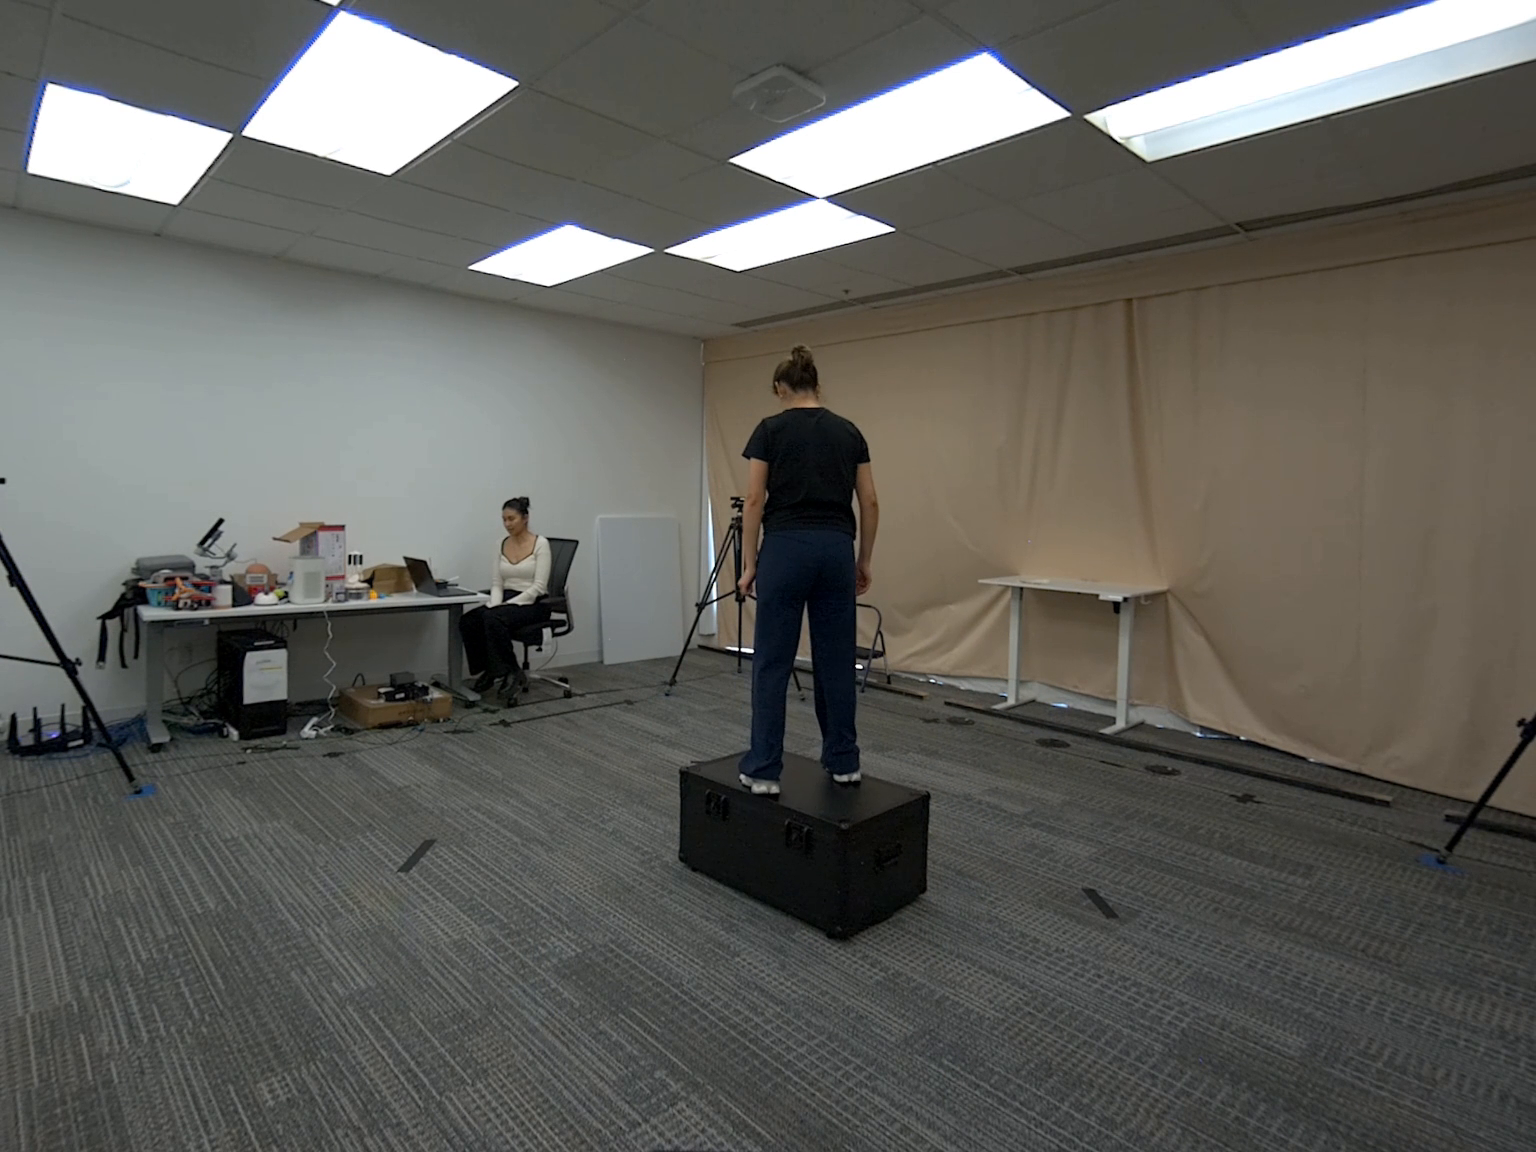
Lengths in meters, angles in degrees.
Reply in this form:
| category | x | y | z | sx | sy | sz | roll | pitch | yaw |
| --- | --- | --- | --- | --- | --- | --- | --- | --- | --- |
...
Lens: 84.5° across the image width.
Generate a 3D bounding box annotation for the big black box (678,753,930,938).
| category | x | y | z | sx | sy | sz | roll | pitch | yaw |
| --- | --- | --- | --- | --- | --- | --- | --- | --- | --- |
| big black box | 0.088 | 0.926 | 3.072 | 0.884 | 0.395 | 0.509 | 6 | 6 | 43 |
